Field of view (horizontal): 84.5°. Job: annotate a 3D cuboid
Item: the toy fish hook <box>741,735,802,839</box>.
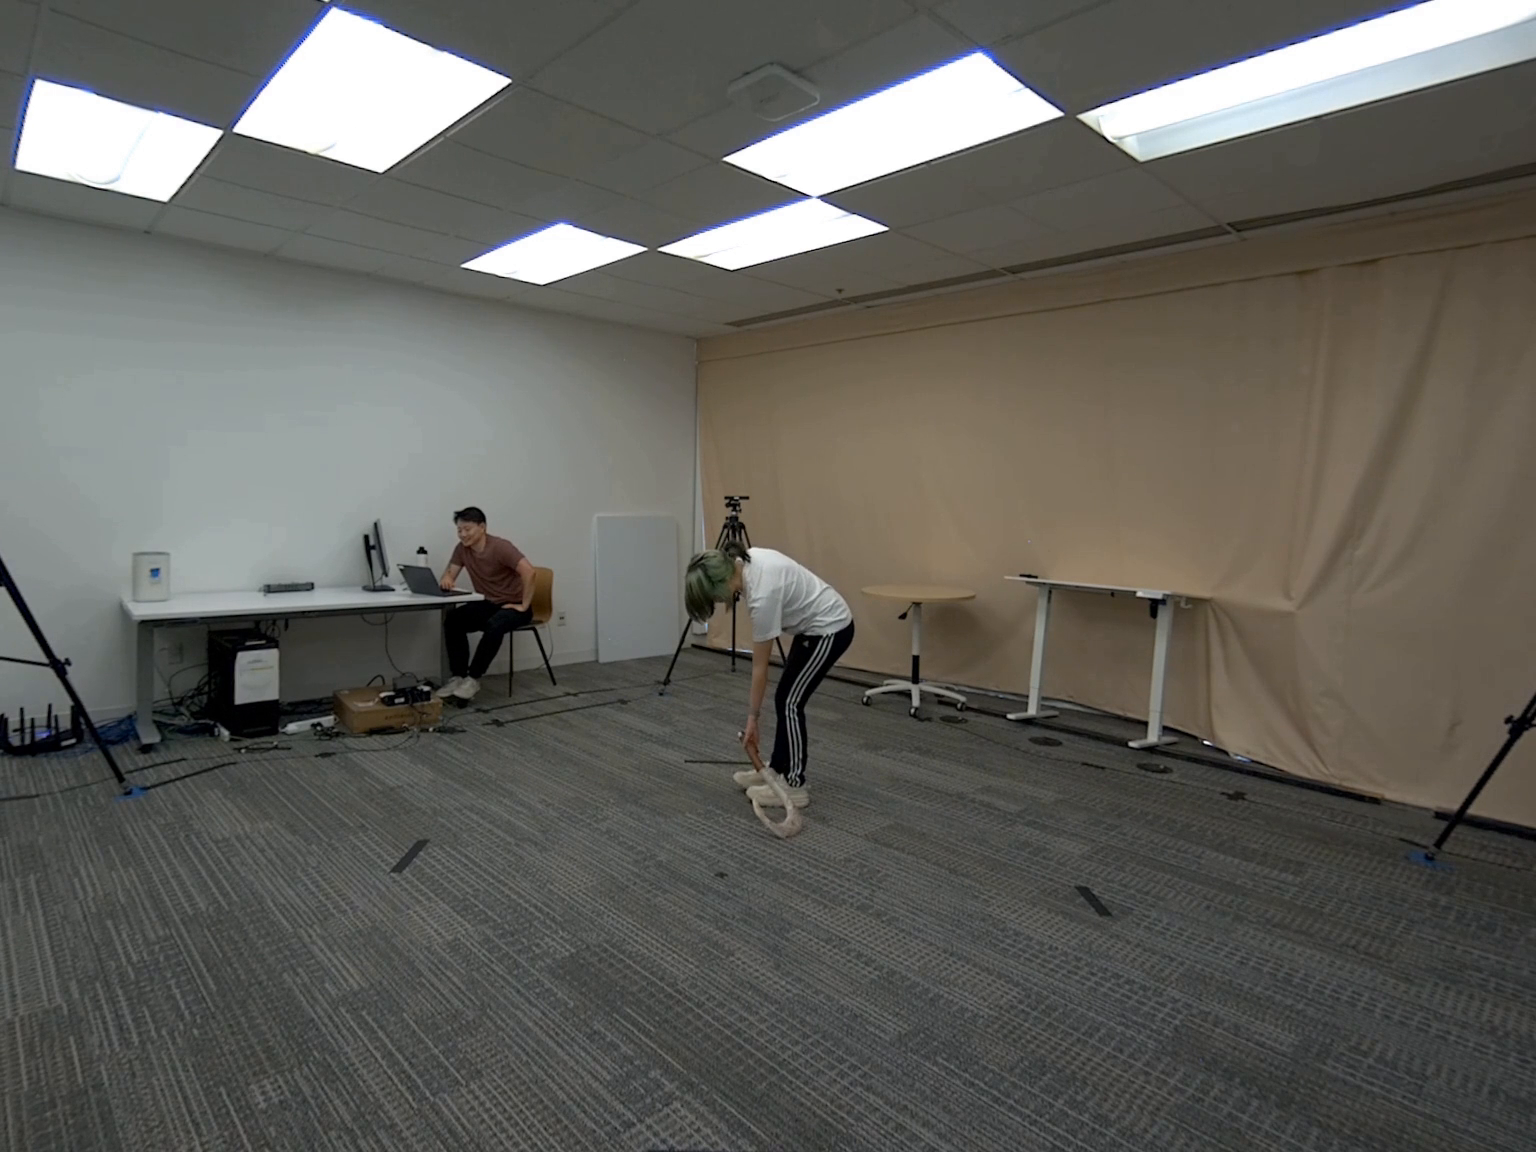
[{"bbox_3d":[-0.039,0.885,3.595,0.219,0.048,0.521,6,40,-47],"label":"toy fish hook"}]
